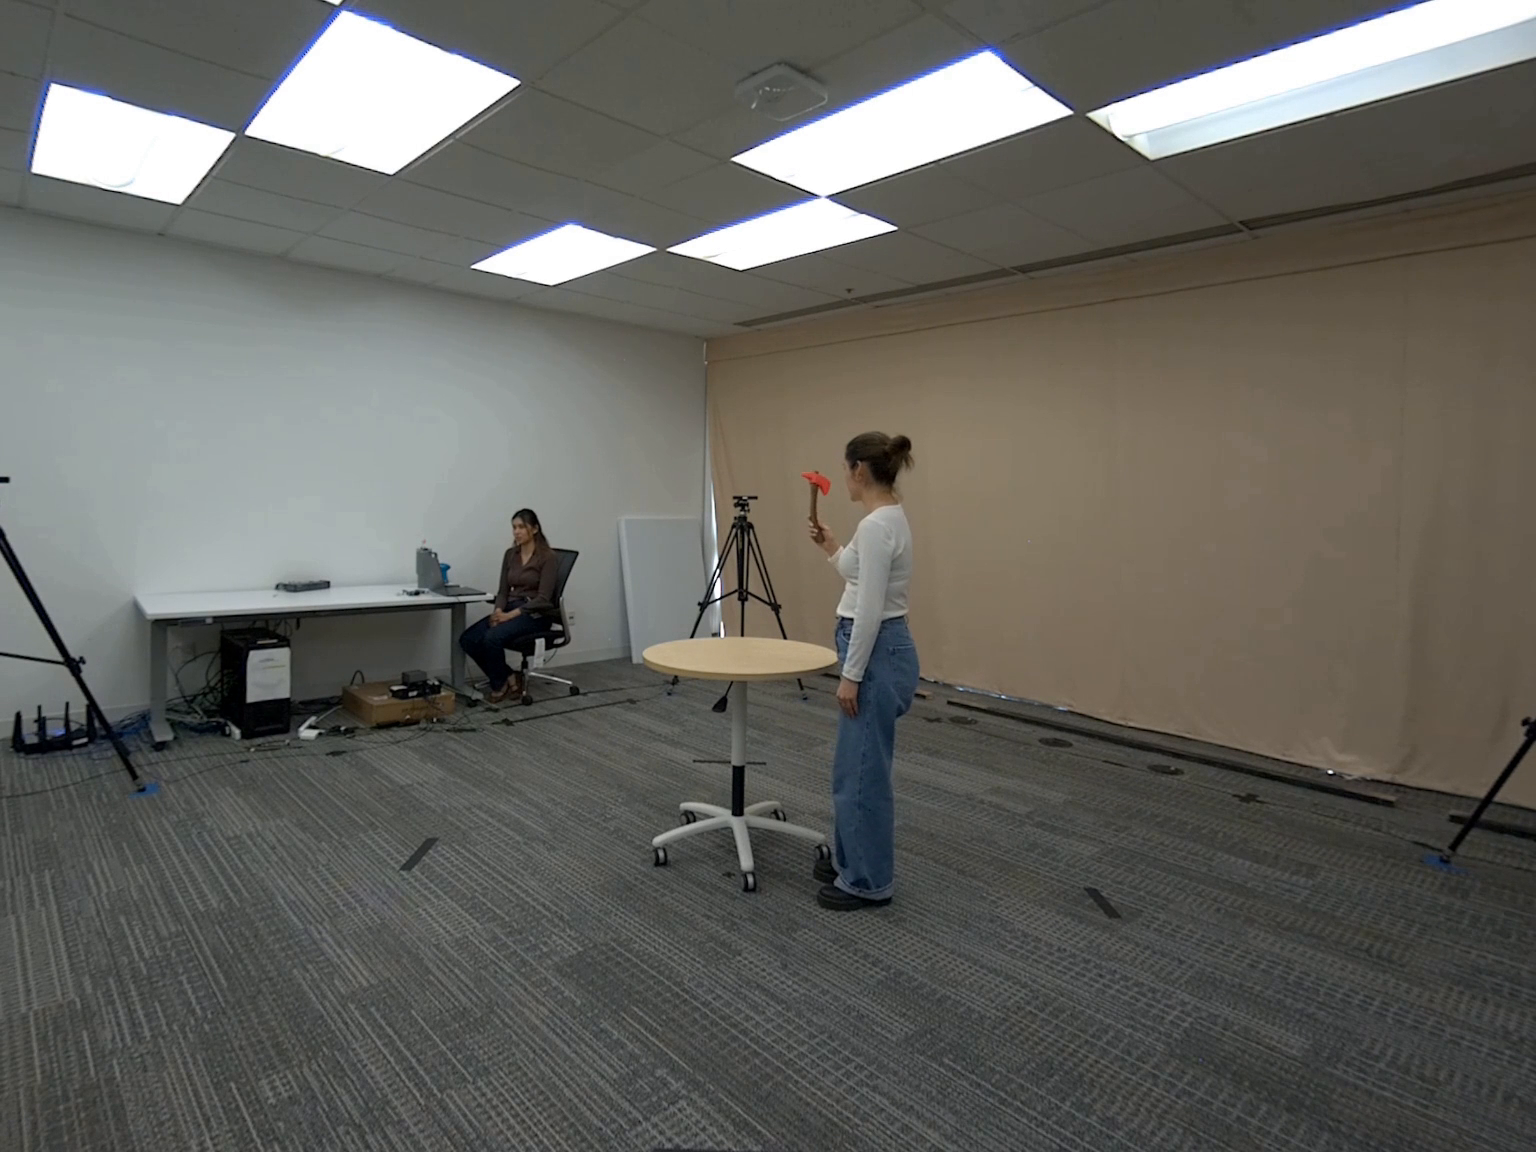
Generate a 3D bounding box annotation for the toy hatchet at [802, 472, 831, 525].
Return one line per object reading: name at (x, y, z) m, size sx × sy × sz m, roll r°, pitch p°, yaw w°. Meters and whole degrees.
toy hatchet at (0.198, -0.262, 3.126) m, size 0.128 × 0.272 × 0.030 m, roll -4°, pitch -10°, yaw -33°
